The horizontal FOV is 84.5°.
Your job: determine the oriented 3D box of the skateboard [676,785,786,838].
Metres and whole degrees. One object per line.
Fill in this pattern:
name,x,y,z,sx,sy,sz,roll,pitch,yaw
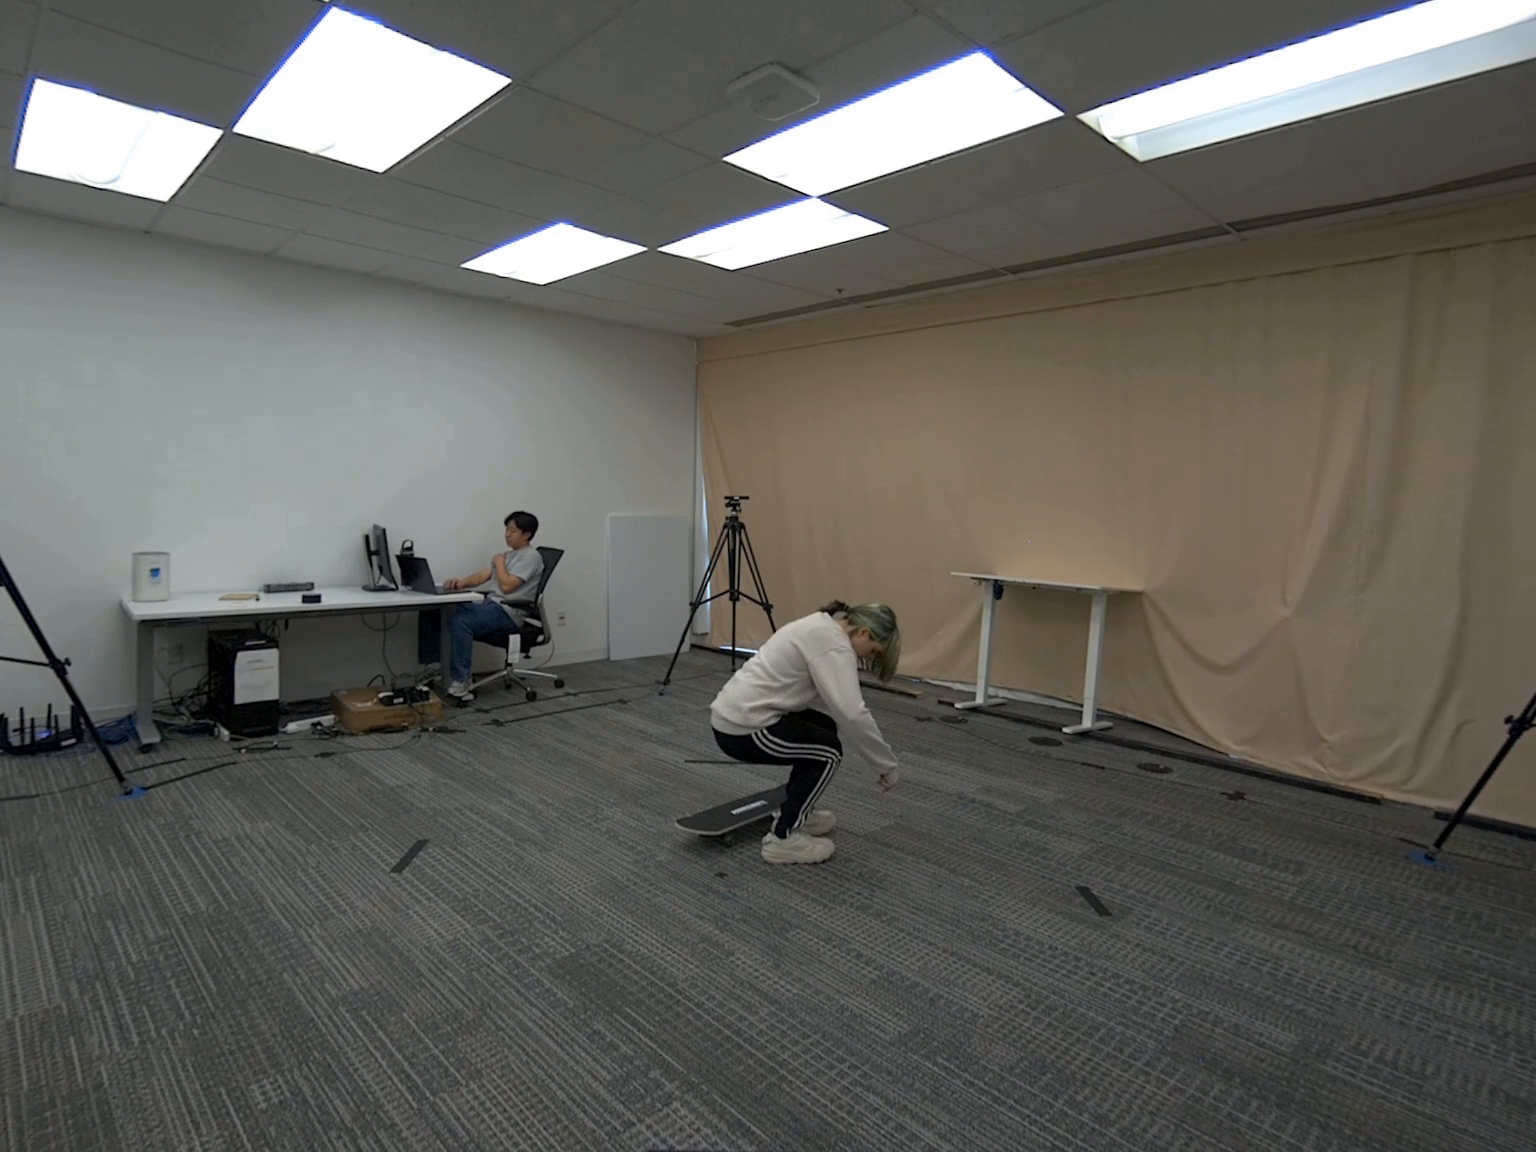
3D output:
skateboard,-0.084,1.007,3.557,0.198,0.110,0.768,6,7,42
